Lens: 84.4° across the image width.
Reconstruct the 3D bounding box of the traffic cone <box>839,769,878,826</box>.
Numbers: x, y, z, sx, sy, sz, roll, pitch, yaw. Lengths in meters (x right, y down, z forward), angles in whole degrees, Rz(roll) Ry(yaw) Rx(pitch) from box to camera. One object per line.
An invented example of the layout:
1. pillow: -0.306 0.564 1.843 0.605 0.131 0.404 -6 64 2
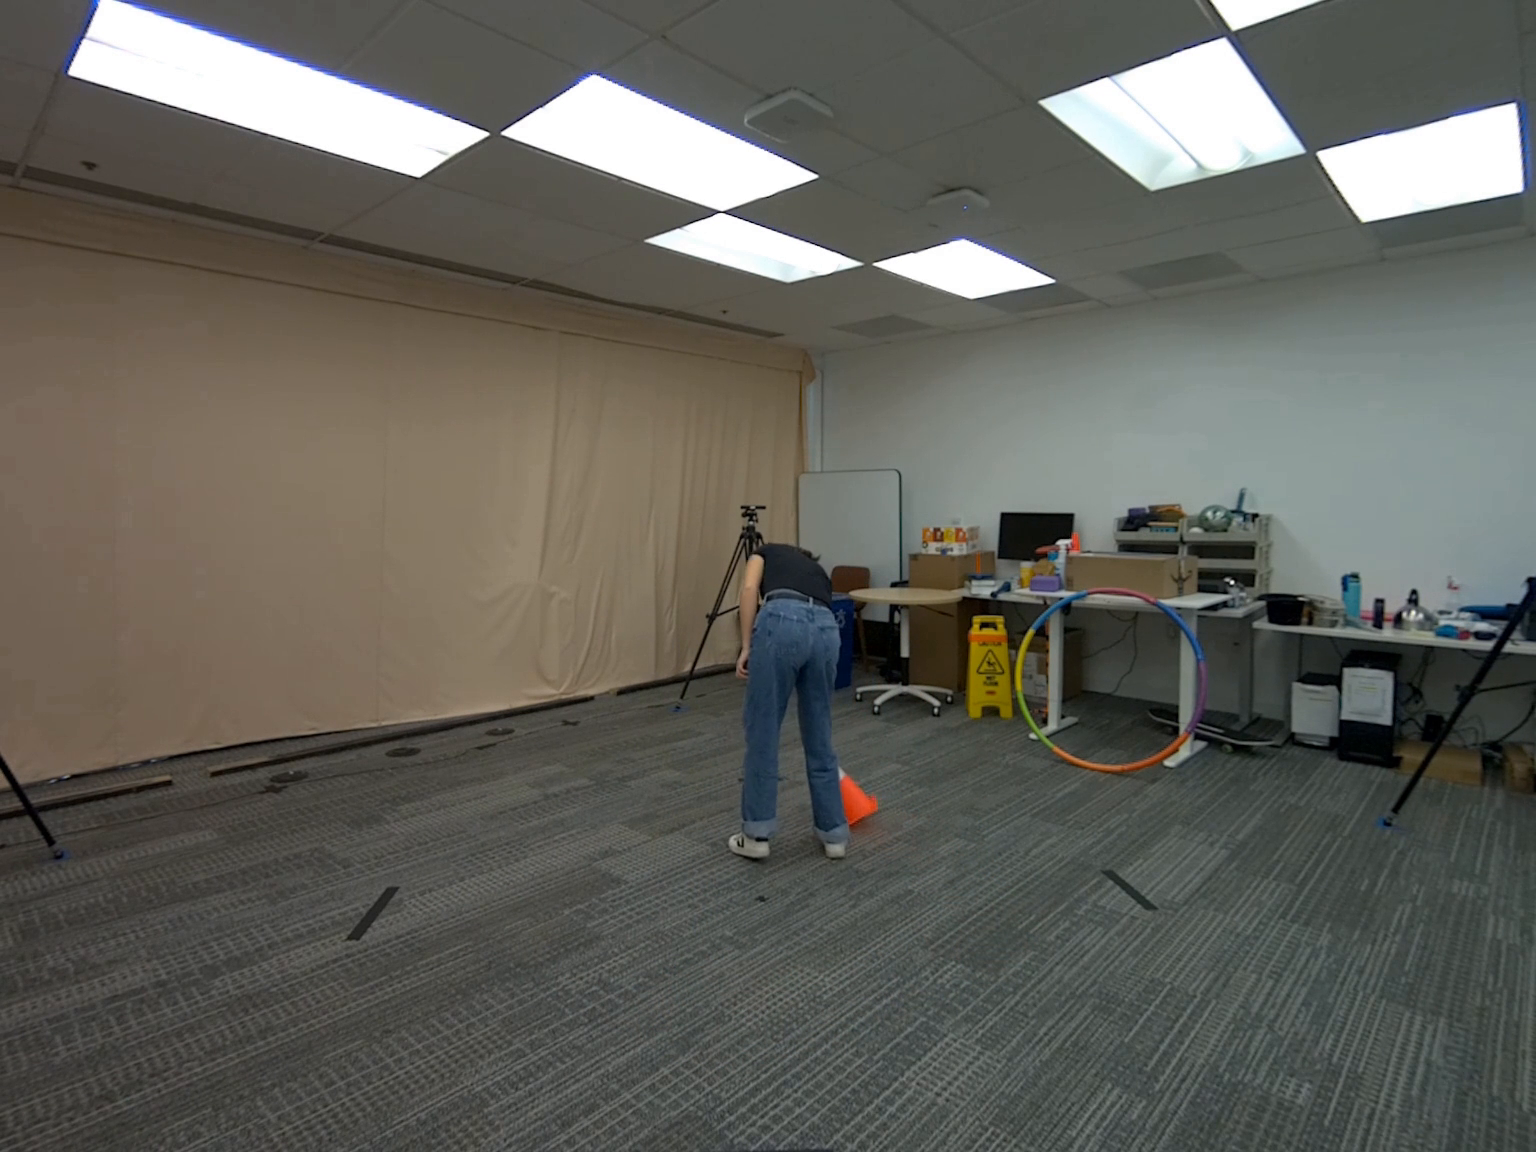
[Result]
1. traffic cone: 0.294 0.877 3.682 0.206 0.385 0.201 -33 -3 10
